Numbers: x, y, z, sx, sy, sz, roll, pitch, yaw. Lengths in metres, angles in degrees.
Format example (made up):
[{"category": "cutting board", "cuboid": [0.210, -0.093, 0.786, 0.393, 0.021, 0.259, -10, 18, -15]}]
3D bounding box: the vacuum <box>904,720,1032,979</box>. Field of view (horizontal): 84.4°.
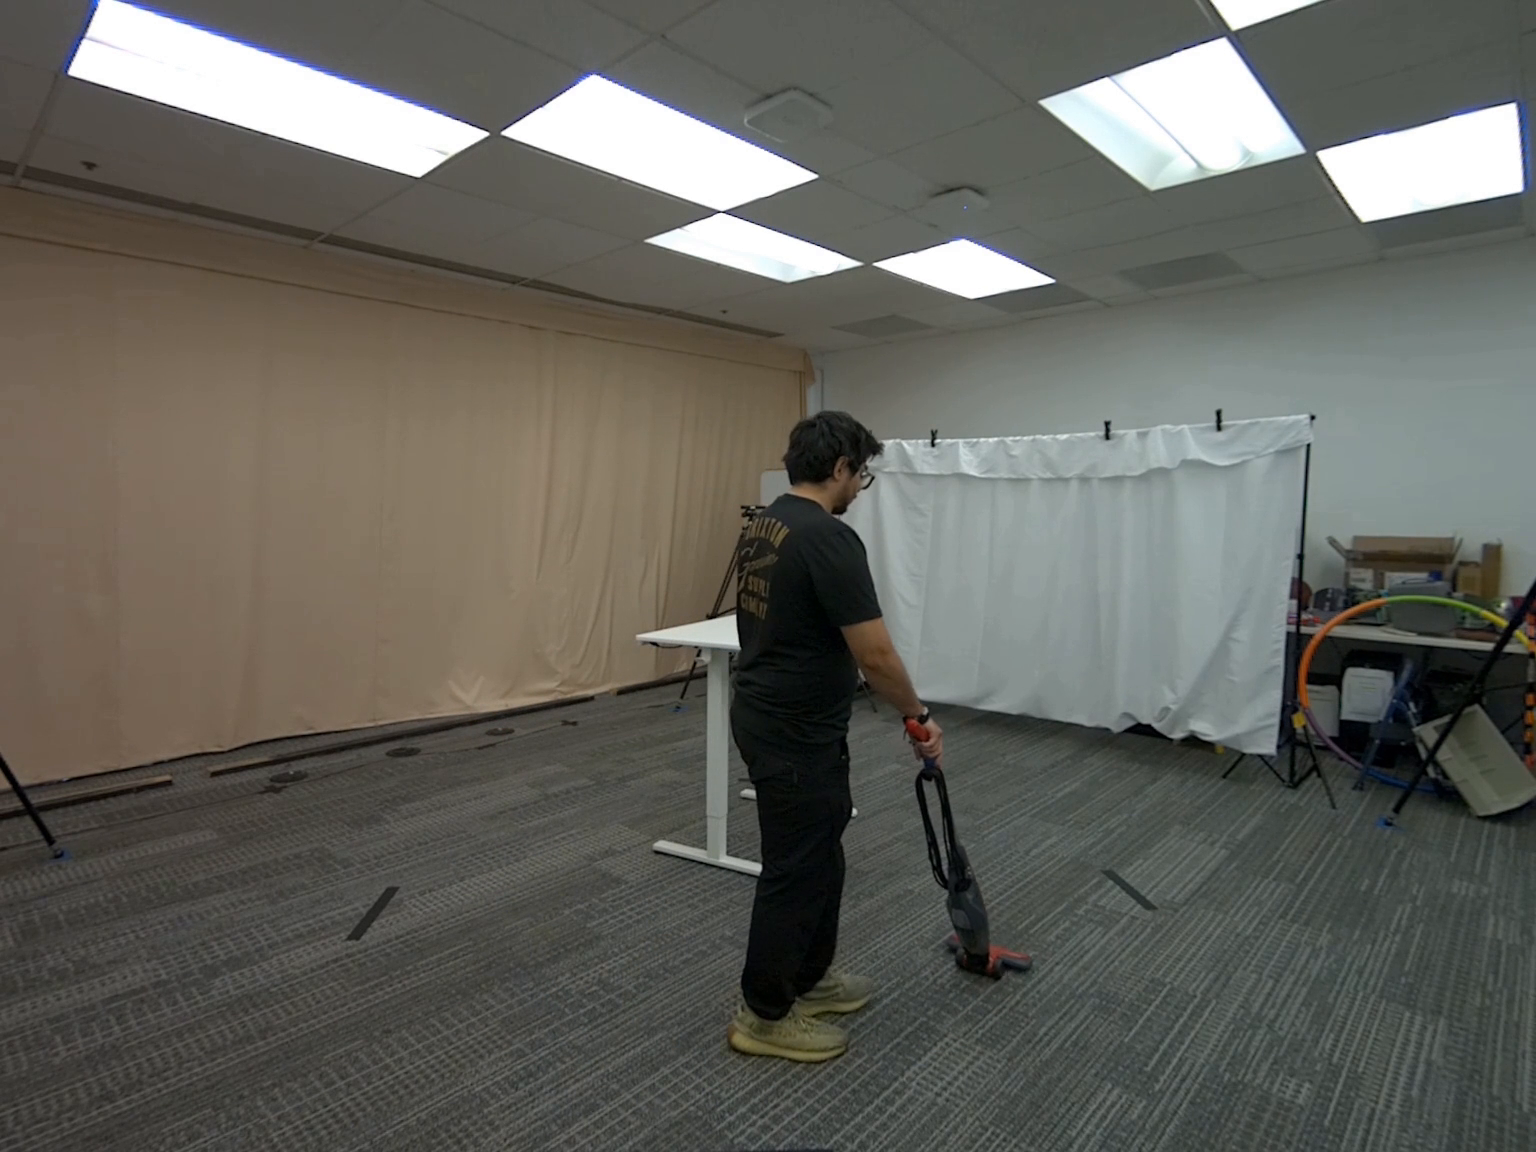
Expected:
[{"category": "vacuum", "cuboid": [0.511, 0.769, 2.286, 0.260, 1.023, 0.143, 3, 38, 32]}]
